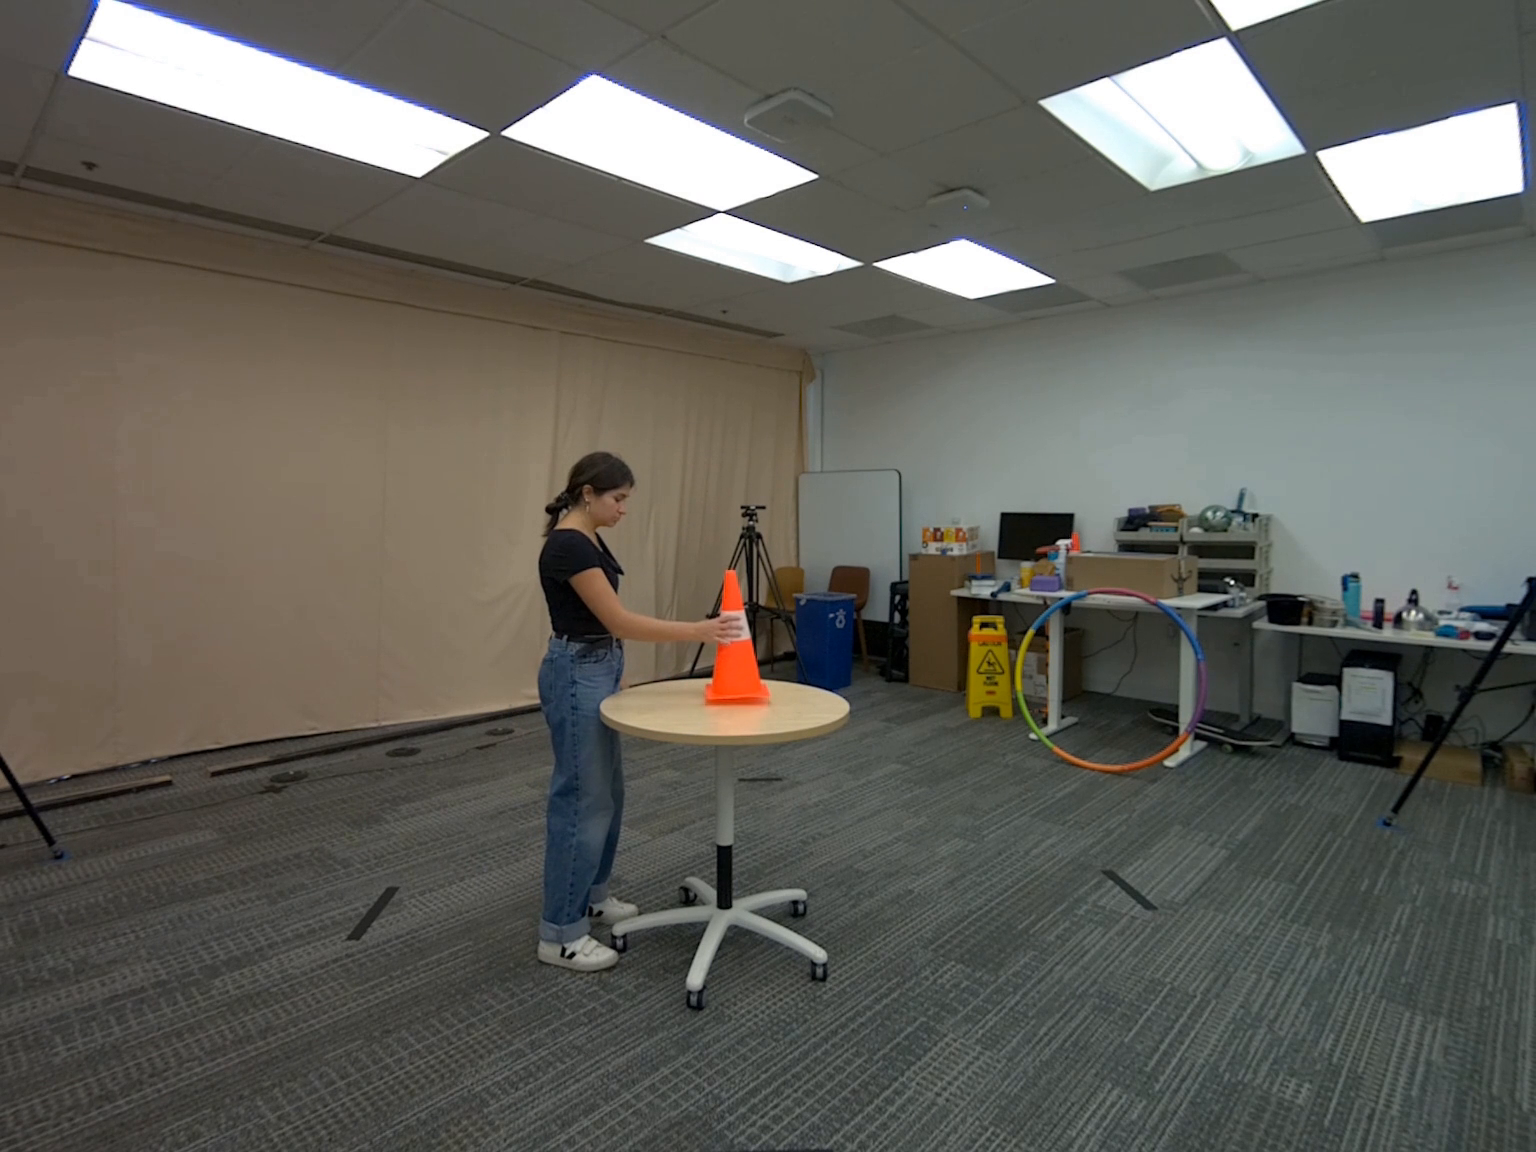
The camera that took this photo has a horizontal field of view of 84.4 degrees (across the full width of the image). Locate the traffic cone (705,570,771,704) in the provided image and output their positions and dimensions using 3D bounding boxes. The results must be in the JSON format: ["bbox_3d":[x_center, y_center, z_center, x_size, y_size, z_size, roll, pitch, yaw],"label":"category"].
[{"bbox_3d":[-0.109,0.181,2.636,0.204,0.383,0.205,-3,2,-6],"label":"traffic cone"}]
